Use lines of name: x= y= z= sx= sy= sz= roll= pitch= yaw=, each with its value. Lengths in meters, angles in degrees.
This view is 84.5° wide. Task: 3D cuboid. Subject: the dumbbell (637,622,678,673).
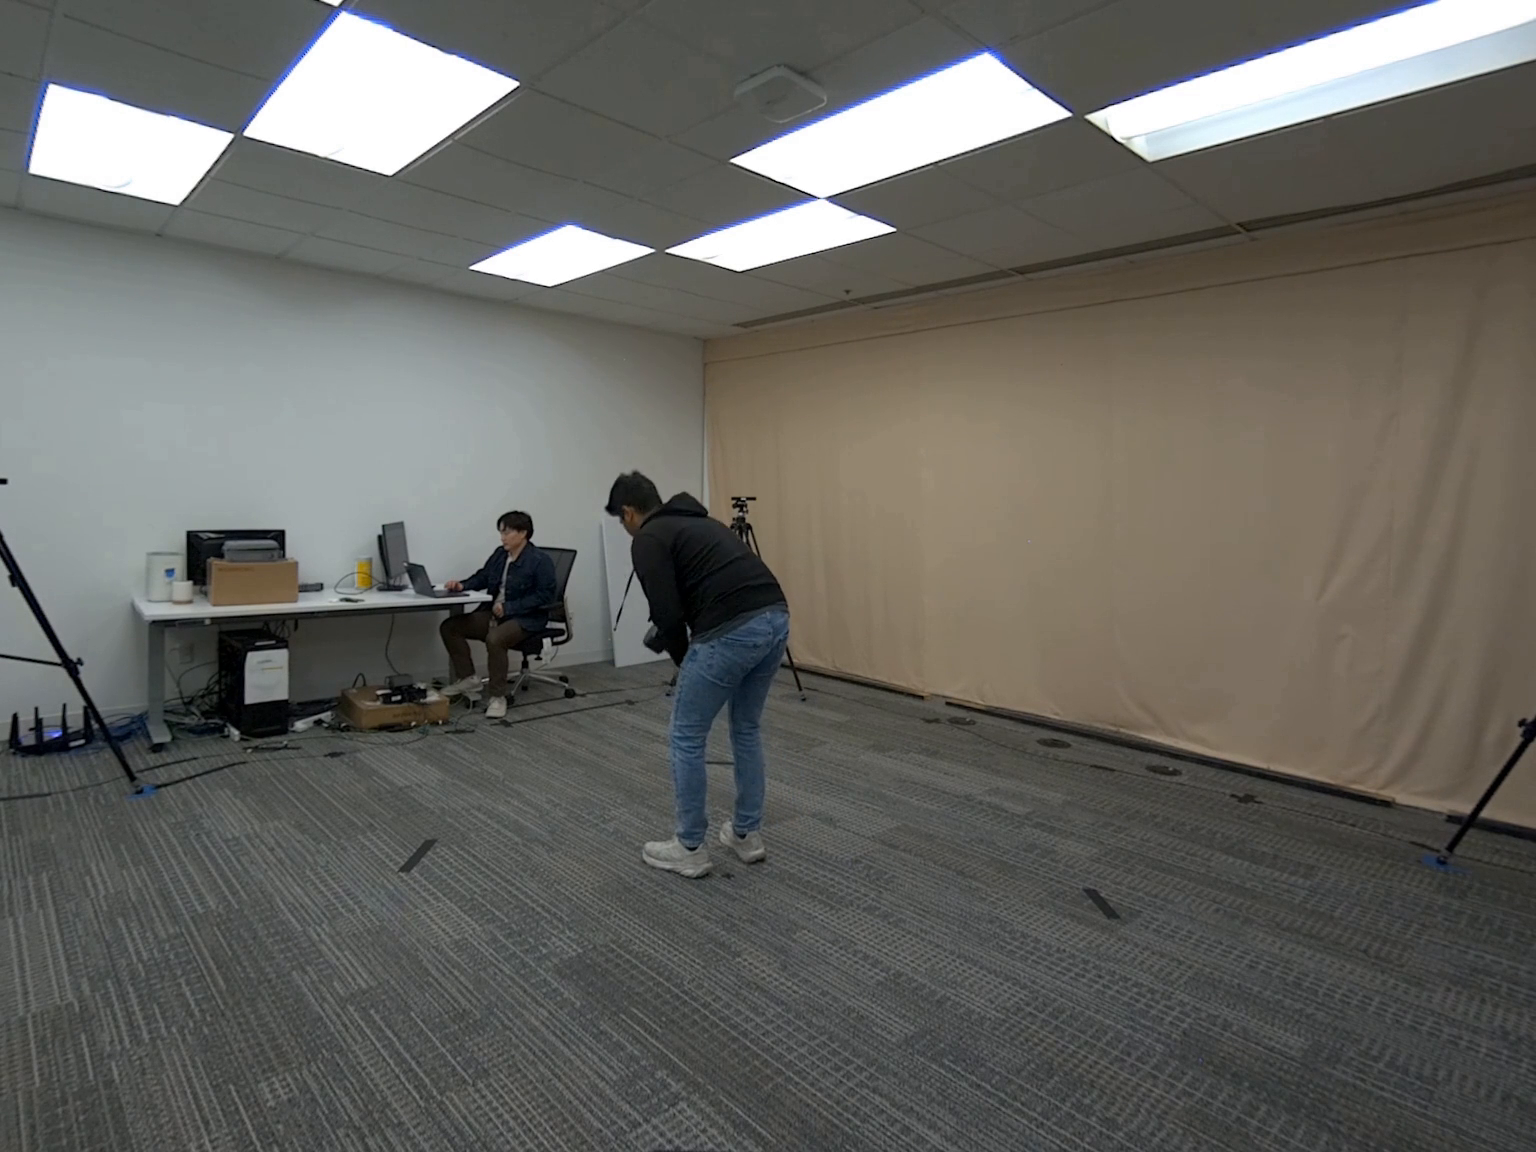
dumbbell: x=-0.364 y=0.313 z=3.391 sx=0.289 sy=0.109 sz=0.125 roll=35 pitch=-4 yaw=-15
